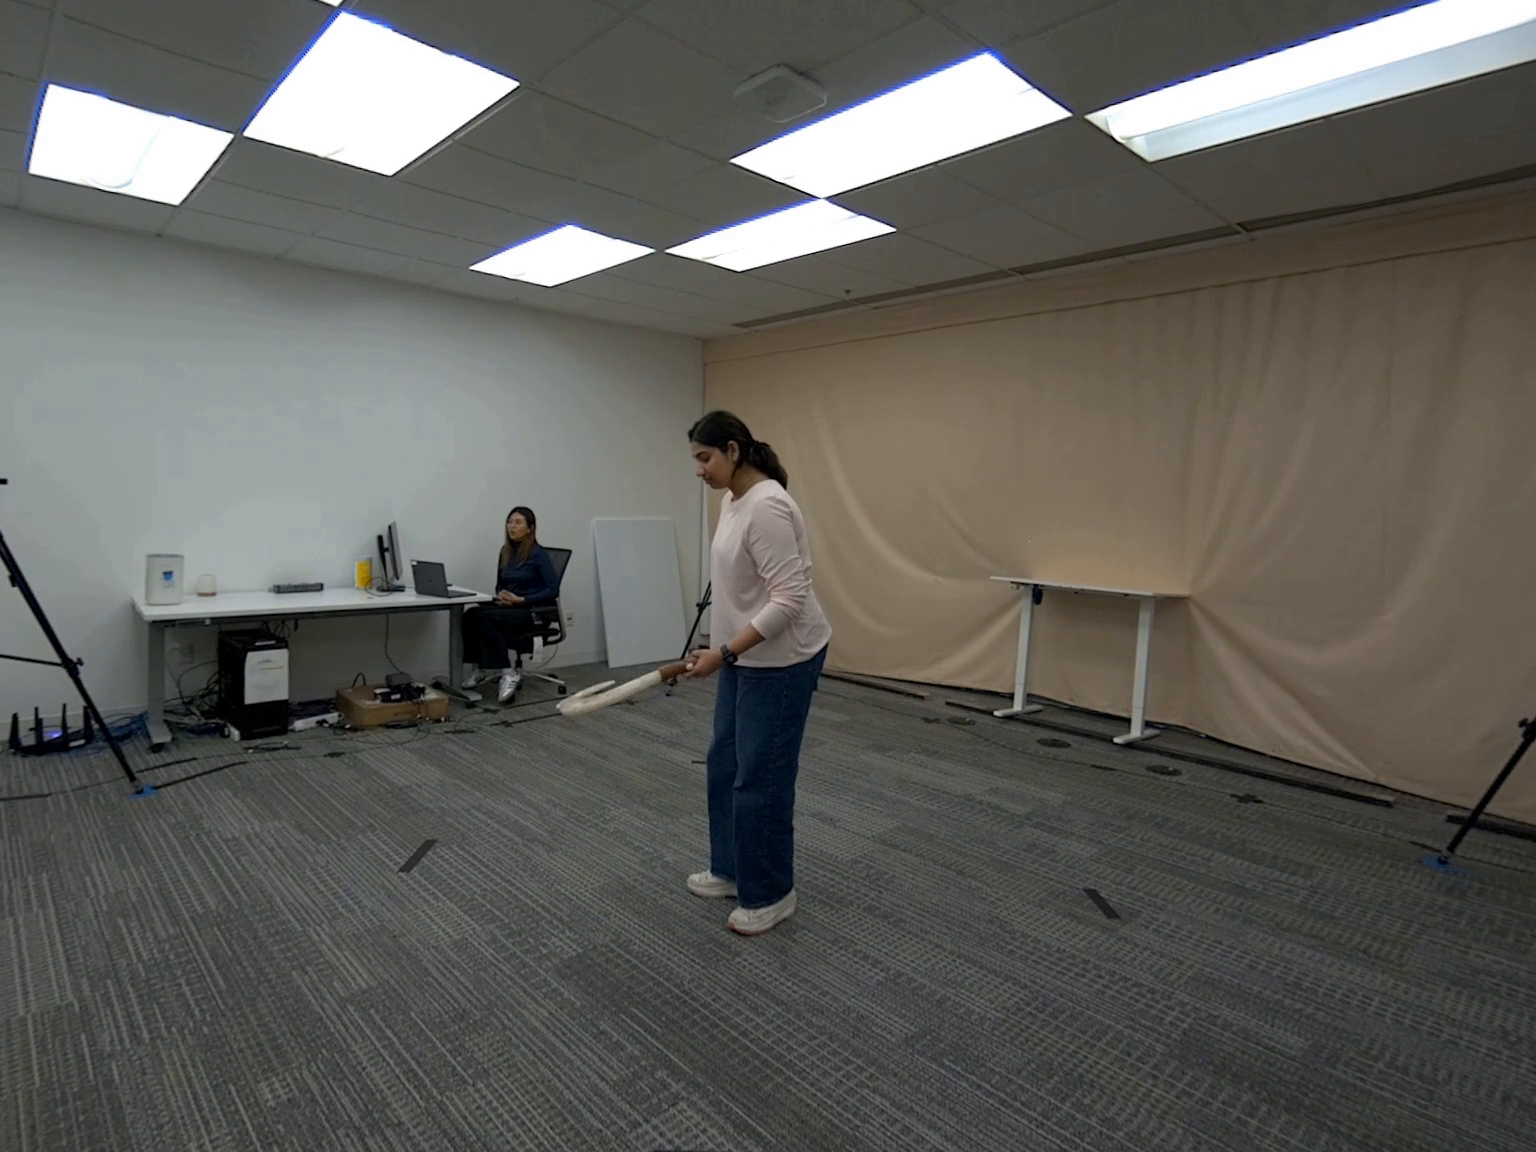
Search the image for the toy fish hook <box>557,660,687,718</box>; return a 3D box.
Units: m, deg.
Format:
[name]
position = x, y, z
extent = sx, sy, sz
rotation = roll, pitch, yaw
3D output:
[toy fish hook]
position = -0.396, 0.324, 2.548
extent = 0.502, 0.048, 0.229
rotation = -17, 12, -18
